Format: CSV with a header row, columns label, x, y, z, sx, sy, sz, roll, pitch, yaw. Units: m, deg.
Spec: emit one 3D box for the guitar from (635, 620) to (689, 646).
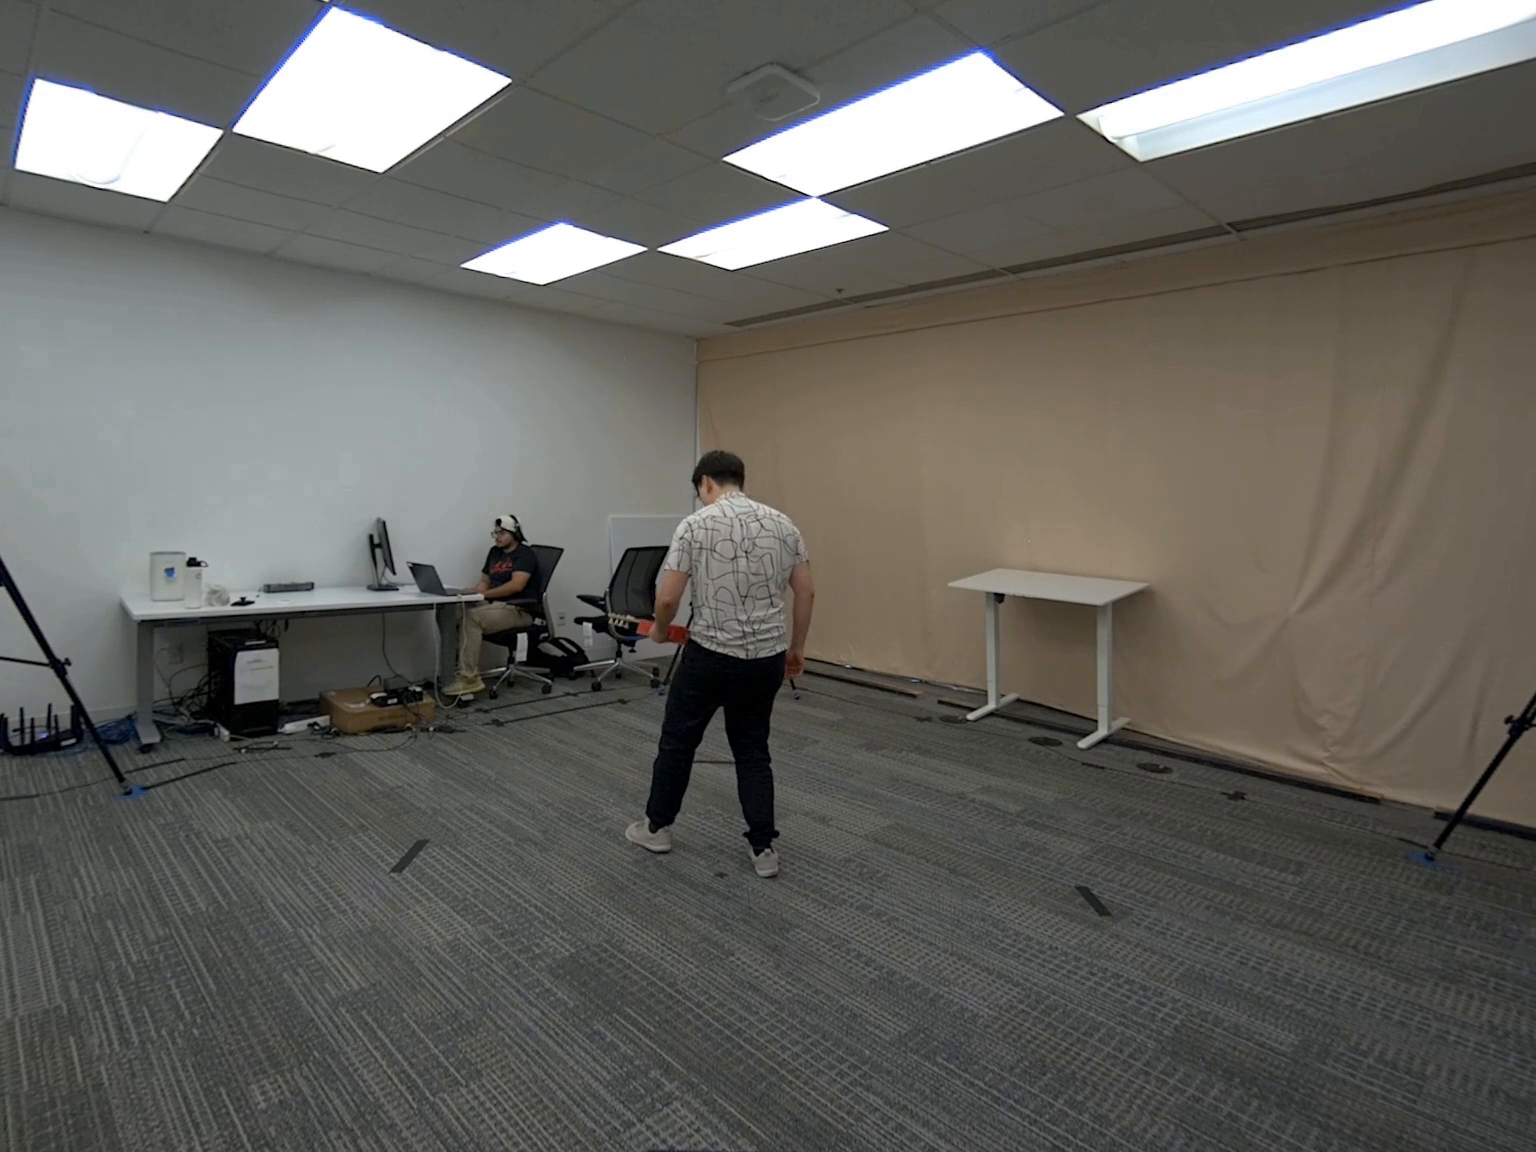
label,x,y,z,sx,sy,sz,roll,pitch,yaw
guitar,-0.494,0.238,3.563,0.187,0.071,0.510,21,-11,-39
